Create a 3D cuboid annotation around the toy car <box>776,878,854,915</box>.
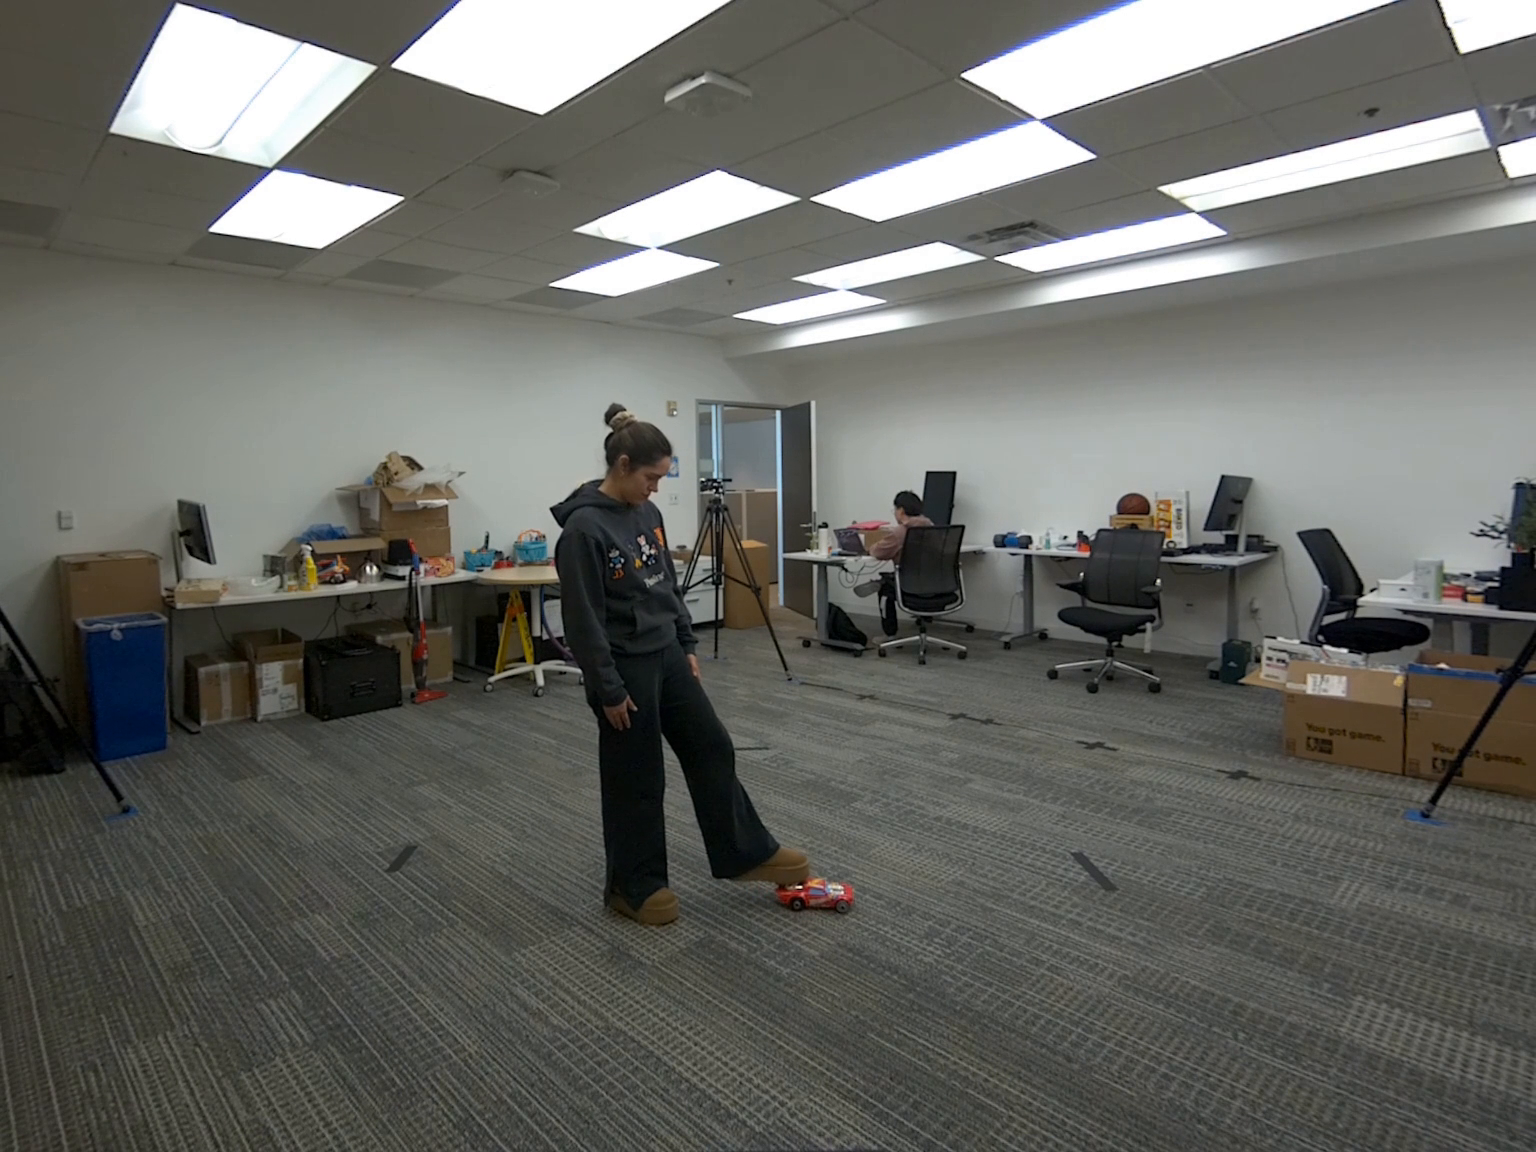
[{"bbox_3d":[0.148,1.042,2.780,0.256,0.083,0.130,9,5,5],"label":"toy car"}]
